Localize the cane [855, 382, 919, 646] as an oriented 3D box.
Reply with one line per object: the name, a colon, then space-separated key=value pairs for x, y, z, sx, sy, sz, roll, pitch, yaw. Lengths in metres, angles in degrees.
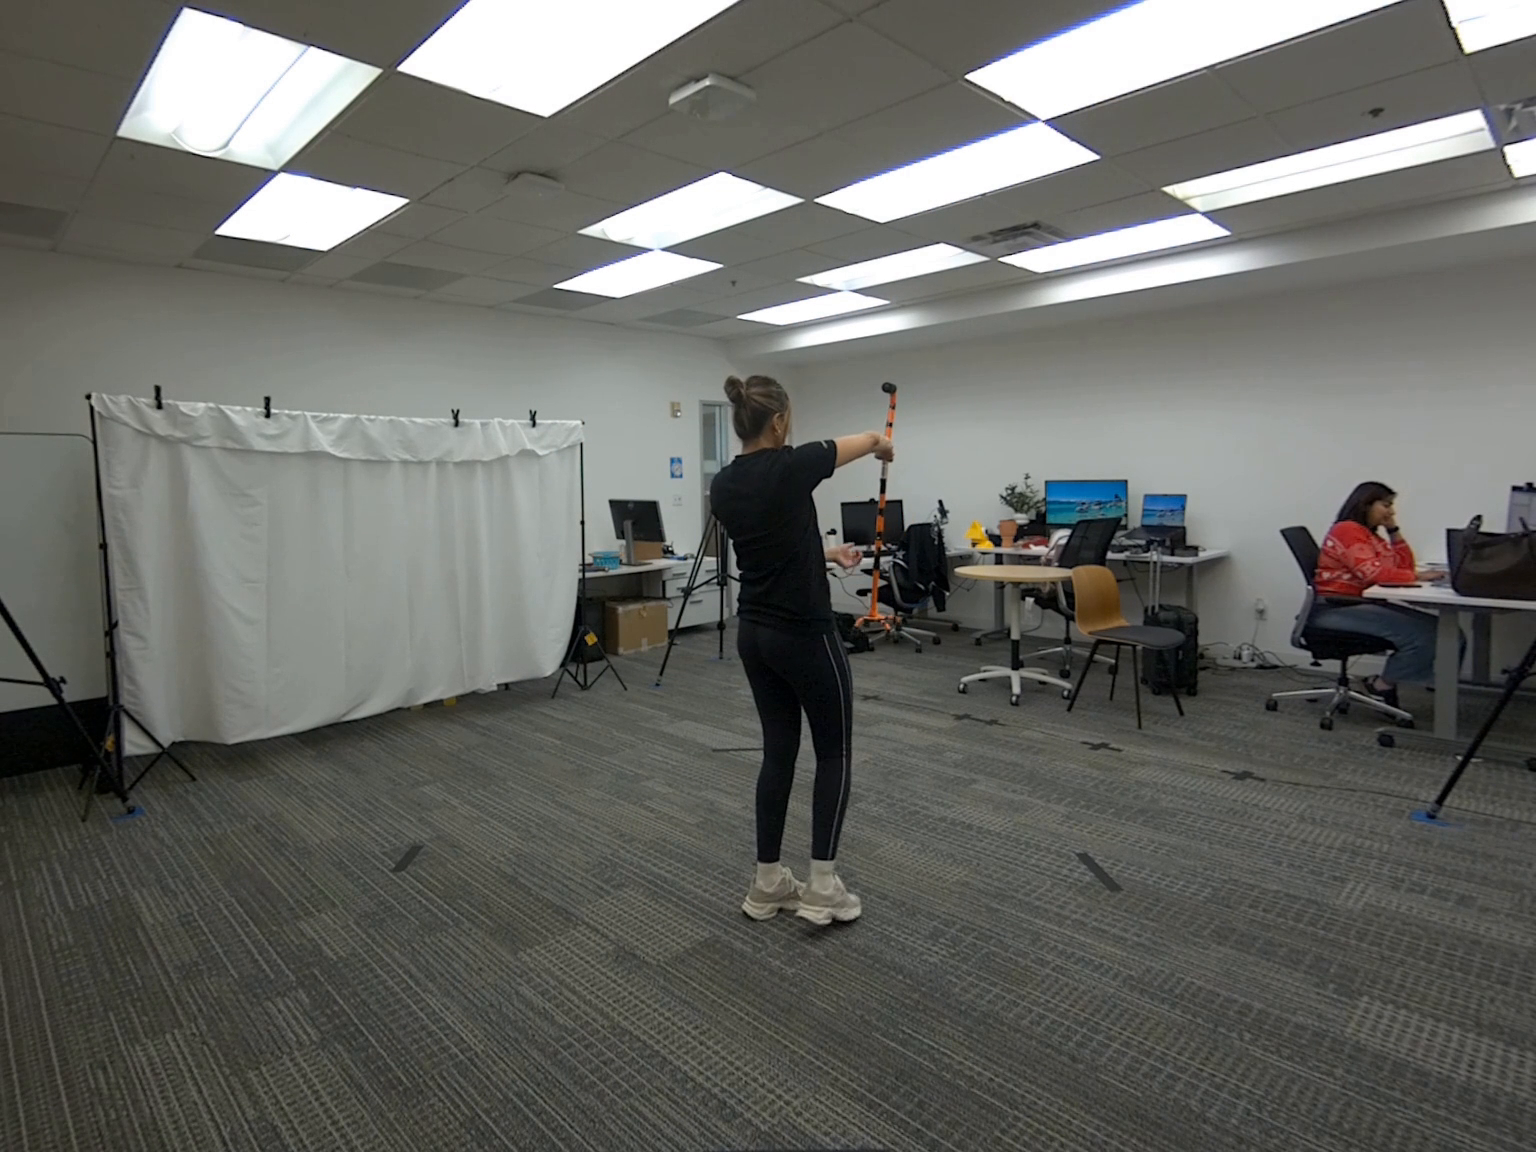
cane: x=0.438 y=-0.250 z=3.112 sx=0.155 sy=0.900 sz=0.204 roll=7 pitch=10 yaw=18
